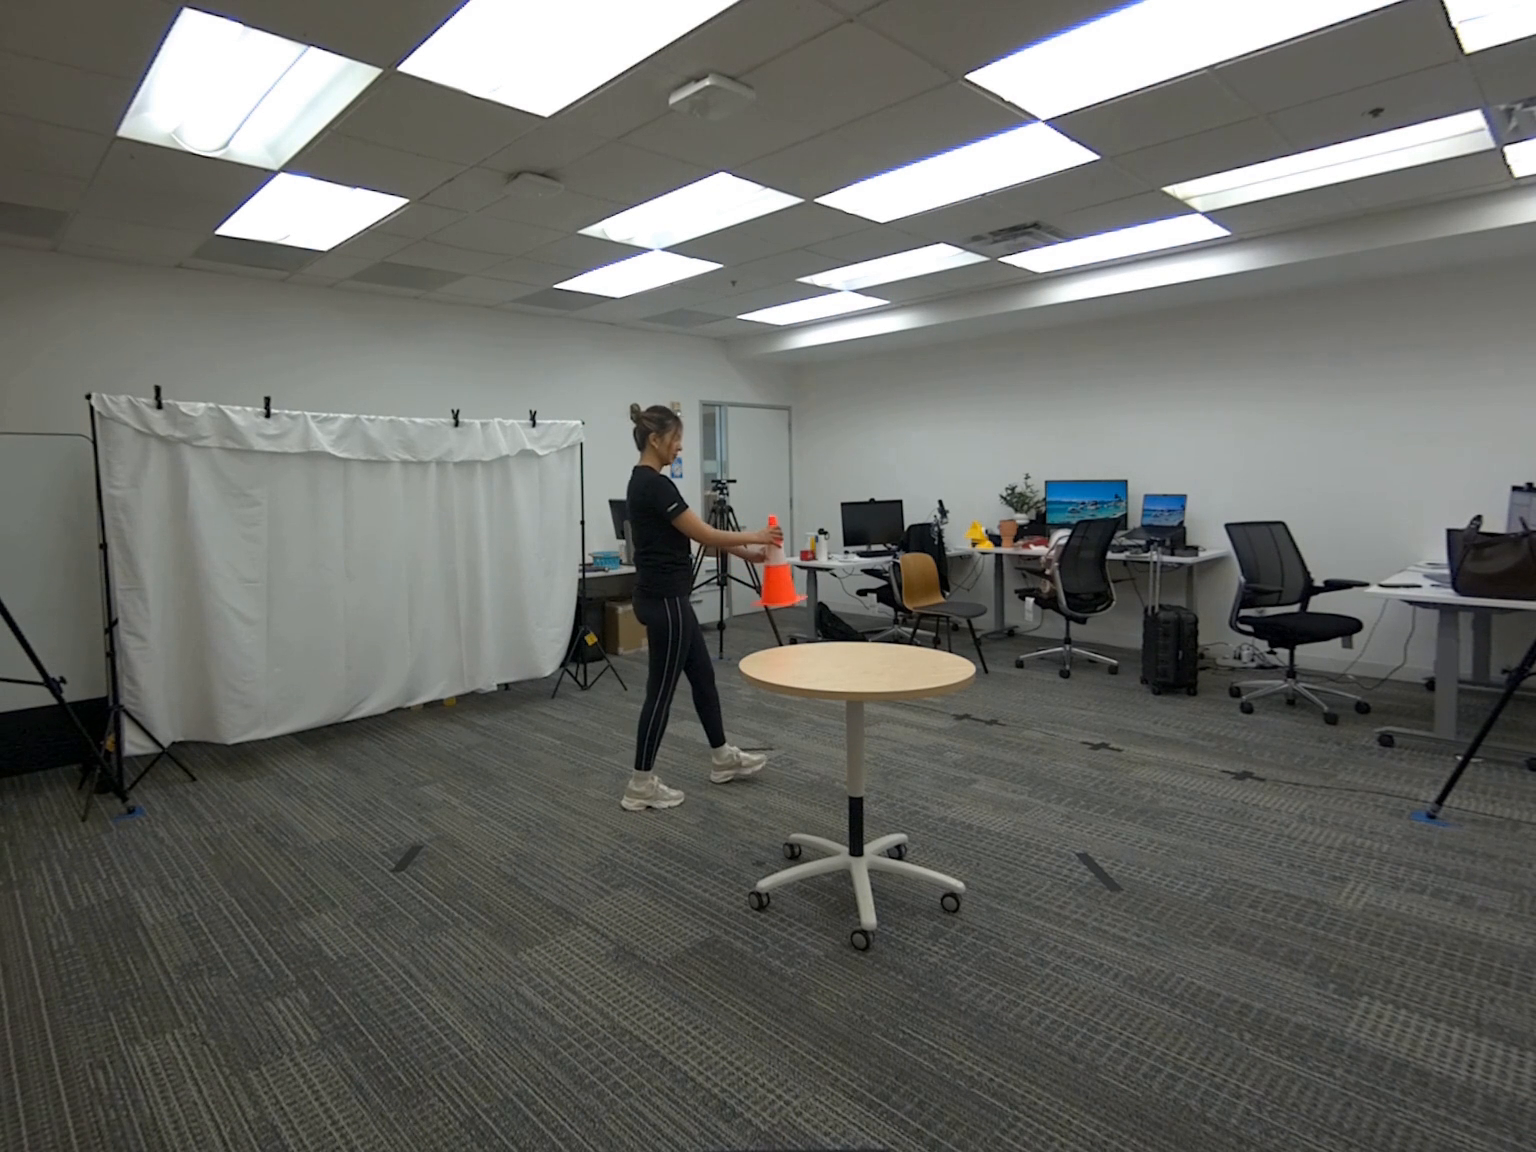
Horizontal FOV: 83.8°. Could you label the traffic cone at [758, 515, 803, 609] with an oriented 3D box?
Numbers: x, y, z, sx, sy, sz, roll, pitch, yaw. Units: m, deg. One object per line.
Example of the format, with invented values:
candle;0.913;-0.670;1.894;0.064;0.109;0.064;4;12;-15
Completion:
traffic cone;0.026;-0.079;3.793;0.210;0.381;0.199;0;7;33
